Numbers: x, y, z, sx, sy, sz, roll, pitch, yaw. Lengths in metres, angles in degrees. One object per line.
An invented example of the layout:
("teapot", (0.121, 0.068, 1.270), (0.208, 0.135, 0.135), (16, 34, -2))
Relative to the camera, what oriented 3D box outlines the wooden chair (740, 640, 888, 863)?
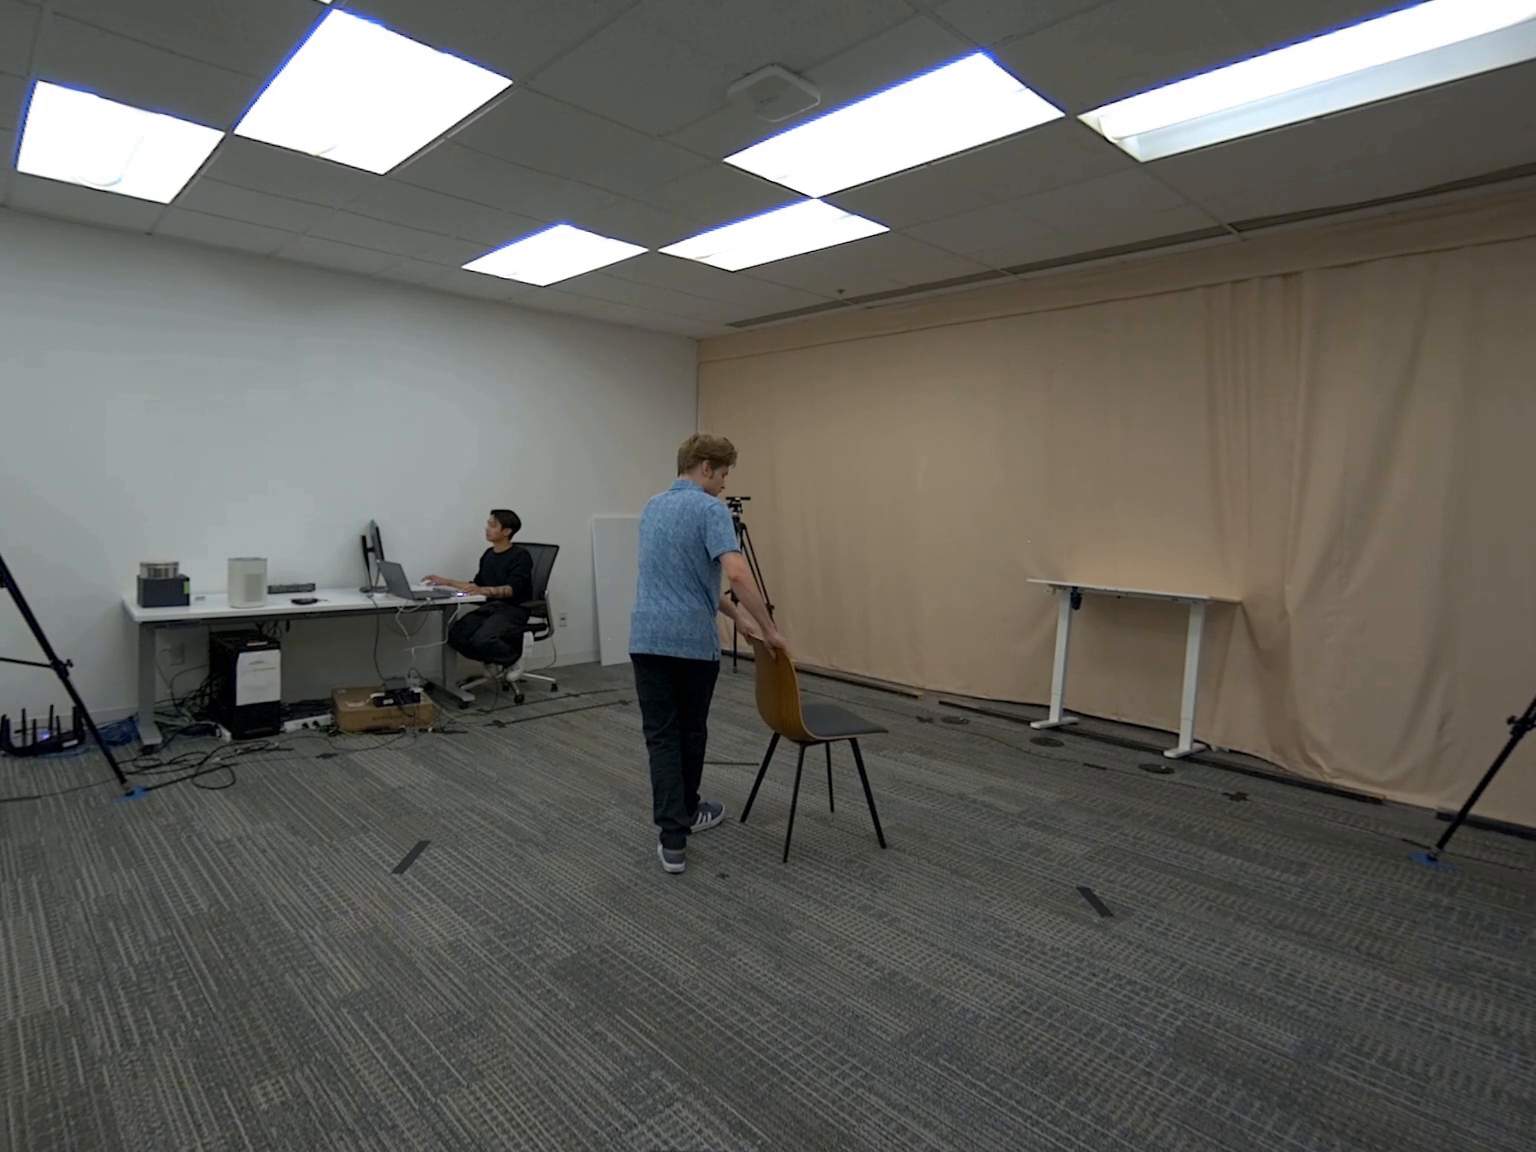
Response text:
("wooden chair", (0.190, 0.650, 3.485), (0.515, 0.874, 0.487), (-4, 5, -22))
